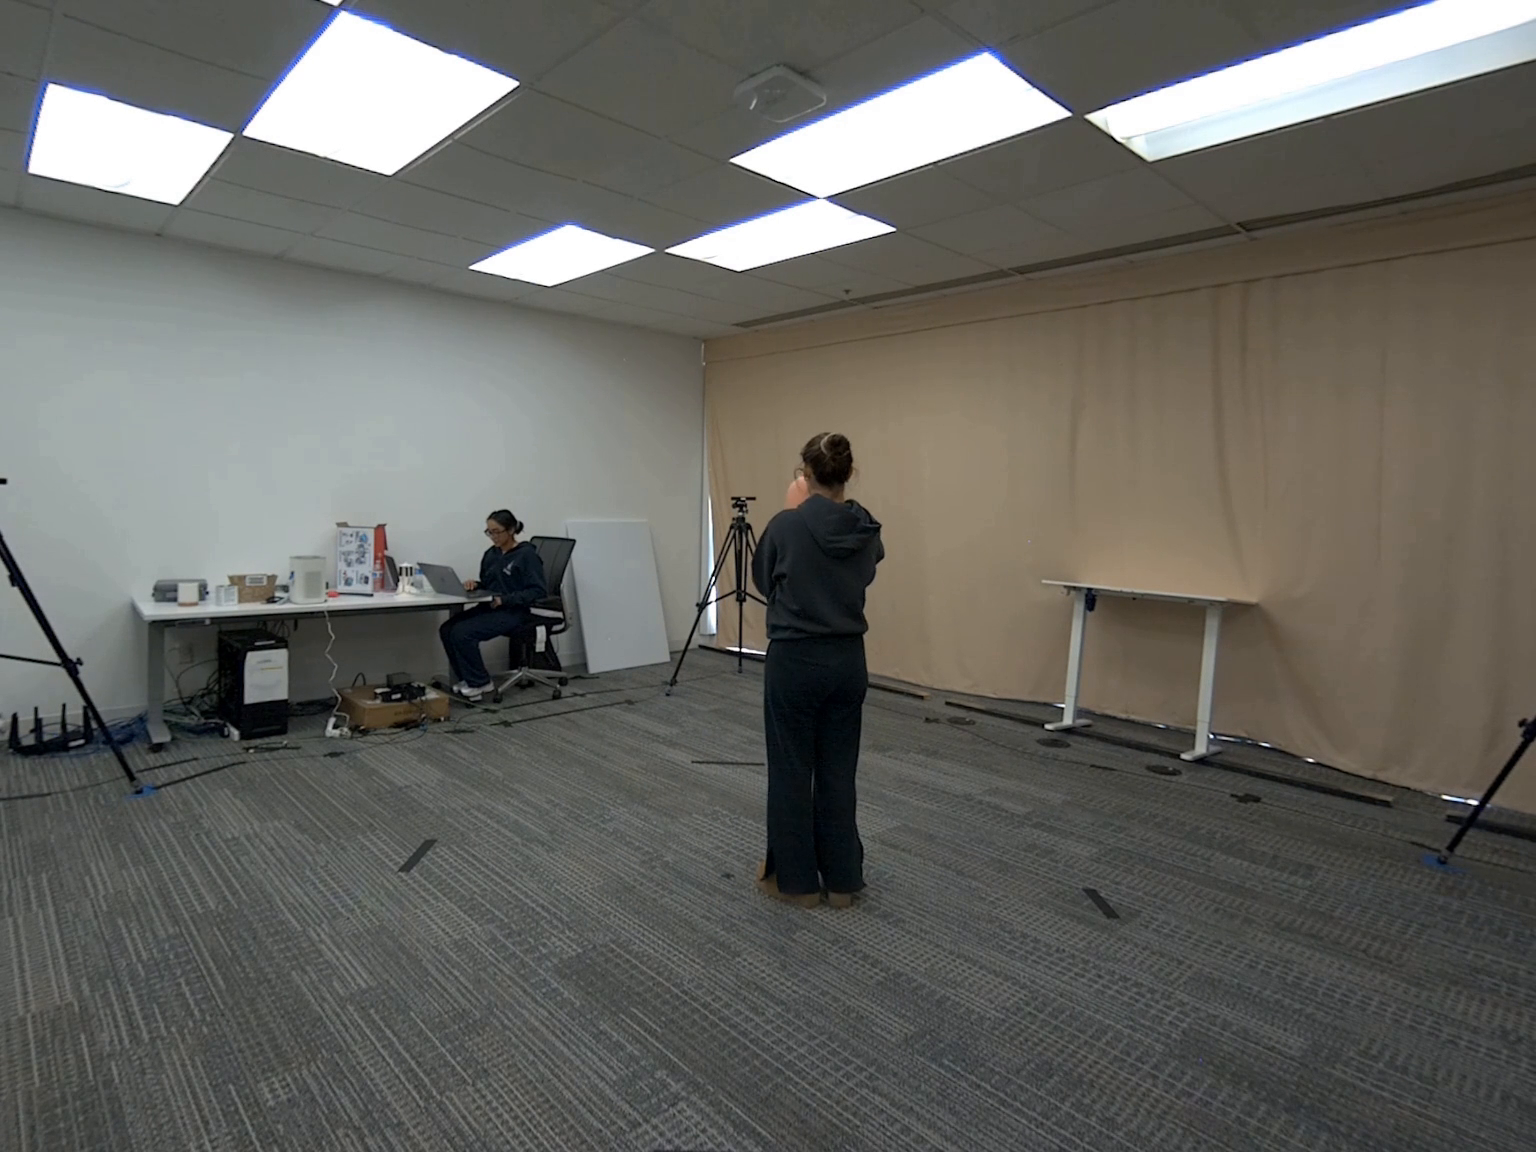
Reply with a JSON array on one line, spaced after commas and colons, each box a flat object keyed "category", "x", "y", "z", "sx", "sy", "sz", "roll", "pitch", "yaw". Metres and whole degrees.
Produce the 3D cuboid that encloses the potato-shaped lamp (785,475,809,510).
[{"category": "potato-shaped lamp", "x": 0.155, "y": -0.283, "z": 3.159, "sx": 0.163, "sy": 0.198, "sz": 0.173, "roll": -1, "pitch": 1, "yaw": -12}]
